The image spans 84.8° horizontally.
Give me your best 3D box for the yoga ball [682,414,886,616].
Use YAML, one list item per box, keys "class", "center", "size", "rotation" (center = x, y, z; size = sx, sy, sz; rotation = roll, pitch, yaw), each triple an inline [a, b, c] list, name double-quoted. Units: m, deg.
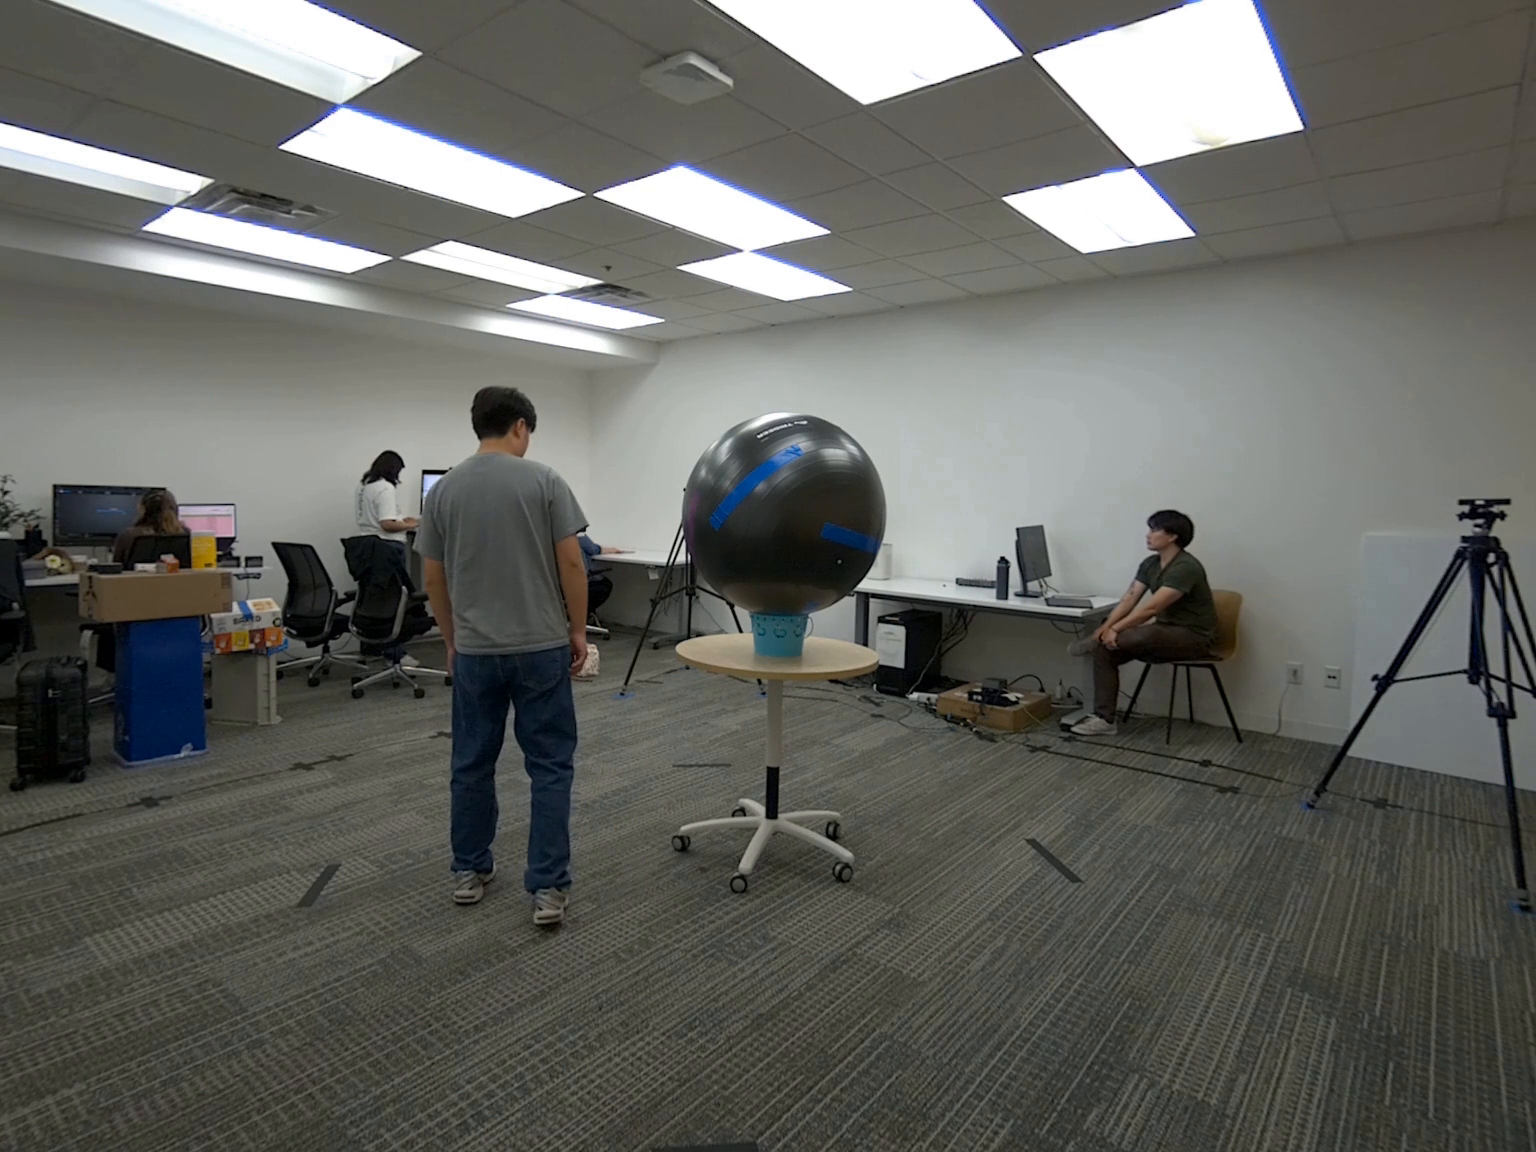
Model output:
- class: "yoga ball"
  center: [0.050, -0.230, 3.179]
  size: [0.757, 0.755, 0.762]
  rotation: [1, 4, -2]
